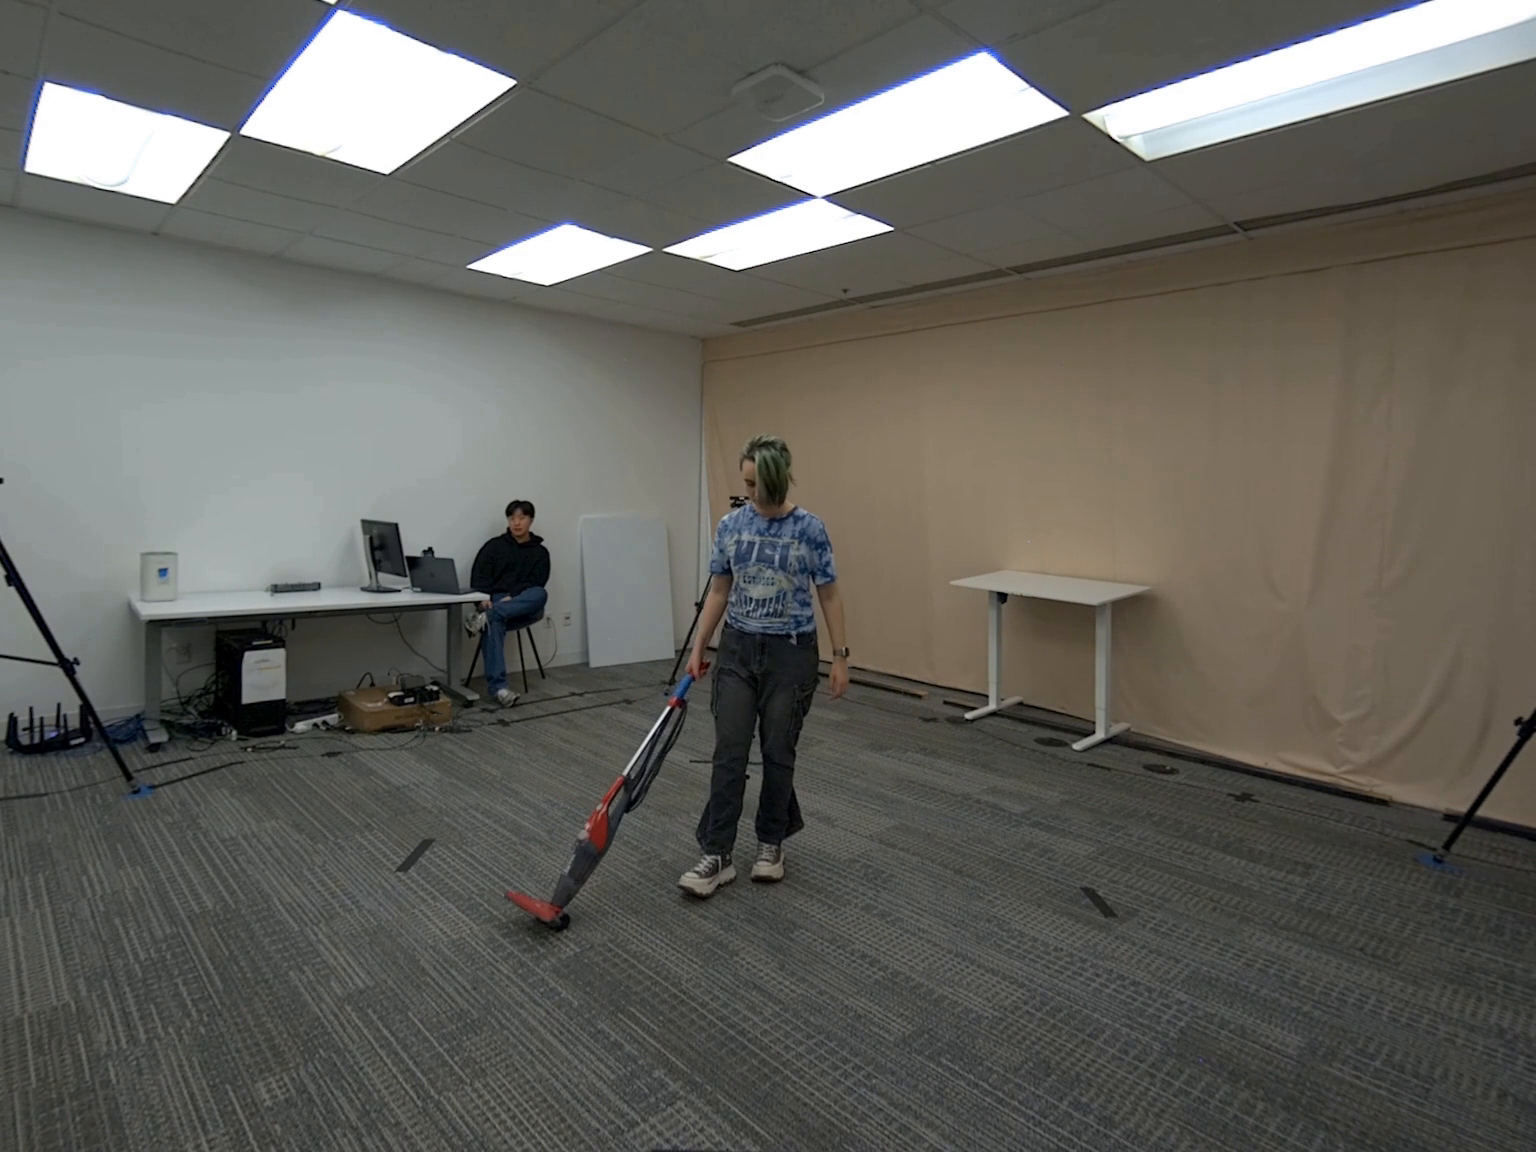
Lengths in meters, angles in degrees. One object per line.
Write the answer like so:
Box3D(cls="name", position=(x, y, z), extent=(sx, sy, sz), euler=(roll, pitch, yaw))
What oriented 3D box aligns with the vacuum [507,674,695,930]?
Box3D(cls="vacuum", position=(-0.485, 0.729, 2.938), extent=(0.259, 0.140, 1.052), euler=(4, 48, 42))
